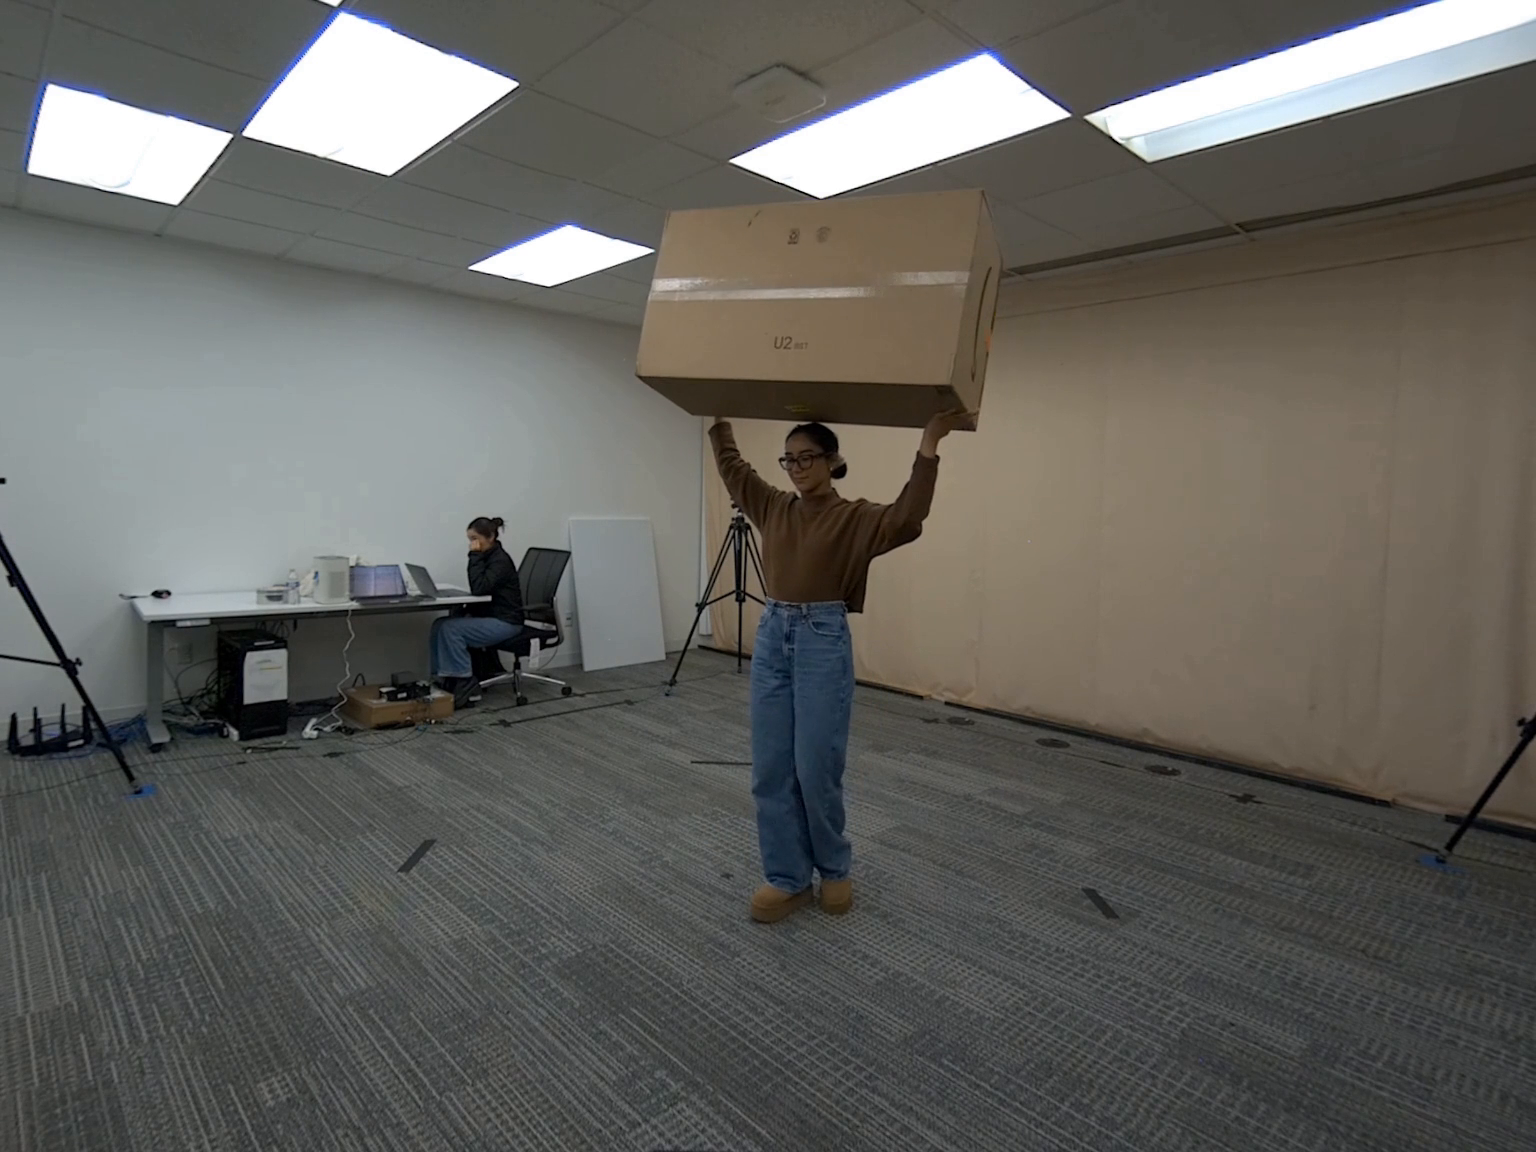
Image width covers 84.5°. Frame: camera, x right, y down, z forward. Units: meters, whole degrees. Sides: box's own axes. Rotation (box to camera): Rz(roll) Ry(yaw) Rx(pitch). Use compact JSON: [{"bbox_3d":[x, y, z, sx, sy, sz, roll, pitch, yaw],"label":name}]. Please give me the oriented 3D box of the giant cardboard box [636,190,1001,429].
[{"bbox_3d":[0.158,-0.822,2.701,1.047,0.580,0.416,8,-7,26],"label":"giant cardboard box"}]
